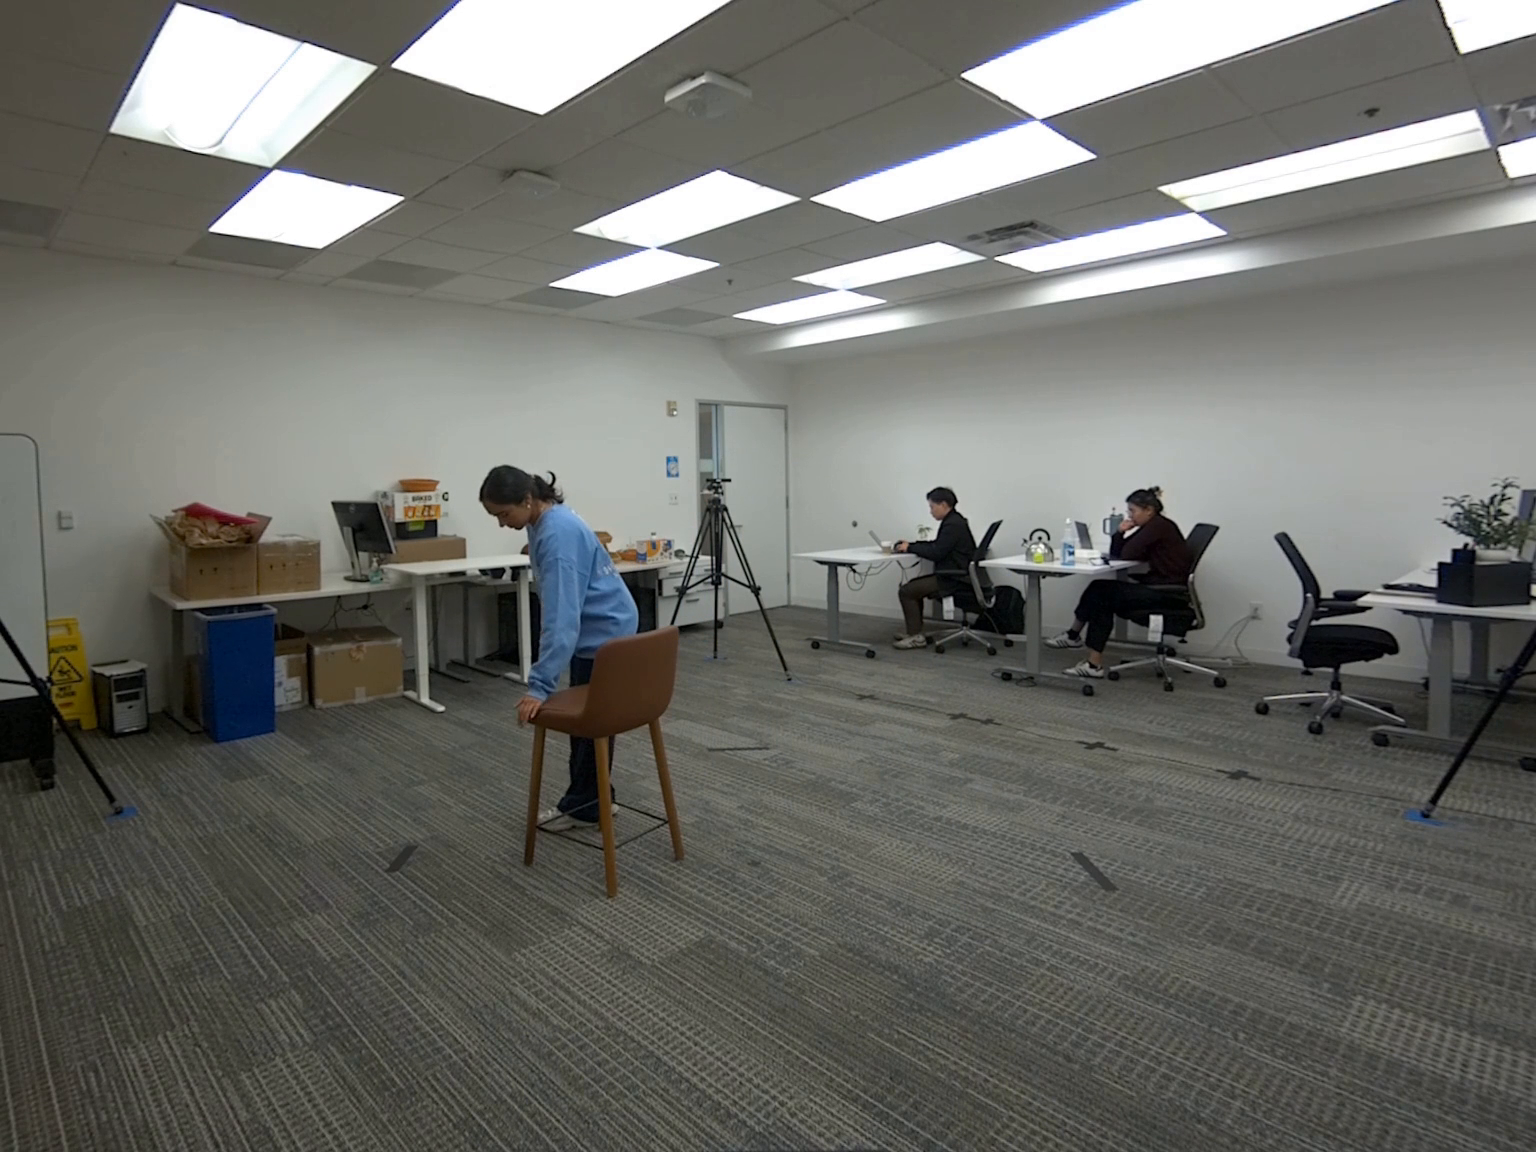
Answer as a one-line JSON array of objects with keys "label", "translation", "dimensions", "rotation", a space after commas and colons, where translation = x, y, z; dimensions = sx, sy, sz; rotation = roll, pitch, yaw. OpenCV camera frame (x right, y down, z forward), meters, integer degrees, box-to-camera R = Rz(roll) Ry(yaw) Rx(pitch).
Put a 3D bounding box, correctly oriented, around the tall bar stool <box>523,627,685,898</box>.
[{"label": "tall bar stool", "translation": [-0.602, 0.618, 3.114], "dimensions": [0.481, 0.886, 0.445], "rotation": [4, 6, 37]}]
